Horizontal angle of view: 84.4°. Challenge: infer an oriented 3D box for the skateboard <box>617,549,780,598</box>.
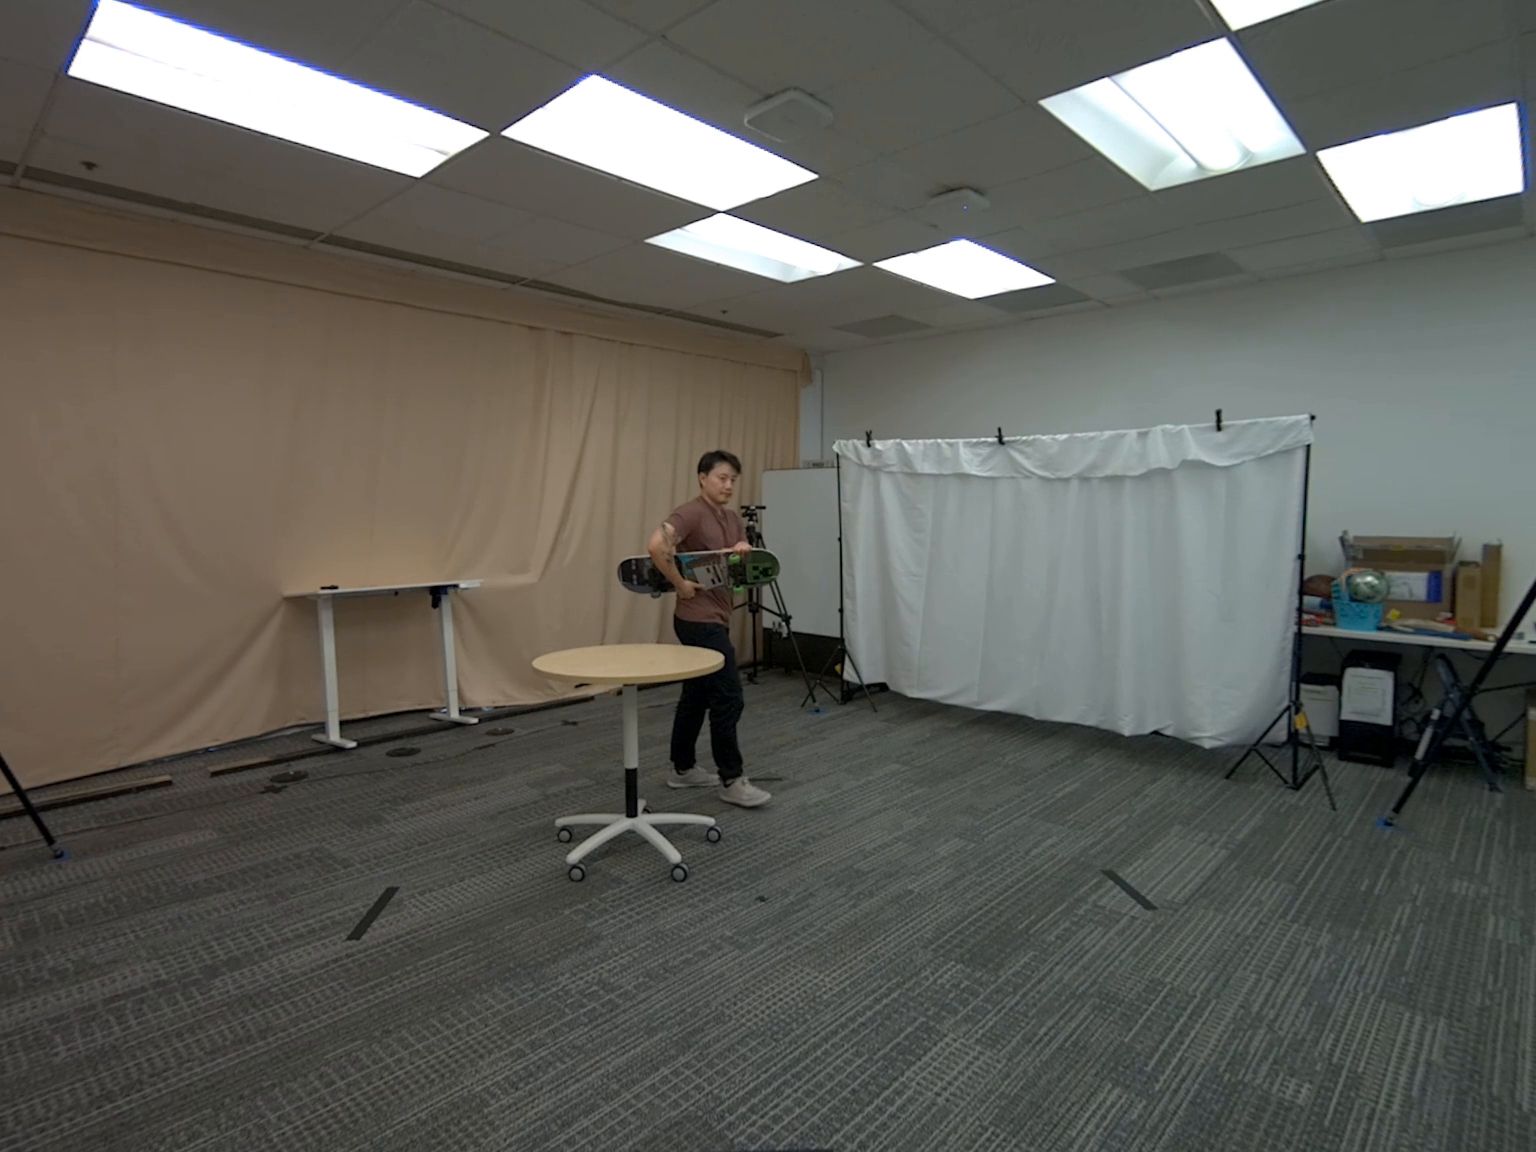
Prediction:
[{"bbox_3d":[-0.337,0.002,3.947,0.796,0.190,0.110,-4,23,13],"label":"skateboard"}]
